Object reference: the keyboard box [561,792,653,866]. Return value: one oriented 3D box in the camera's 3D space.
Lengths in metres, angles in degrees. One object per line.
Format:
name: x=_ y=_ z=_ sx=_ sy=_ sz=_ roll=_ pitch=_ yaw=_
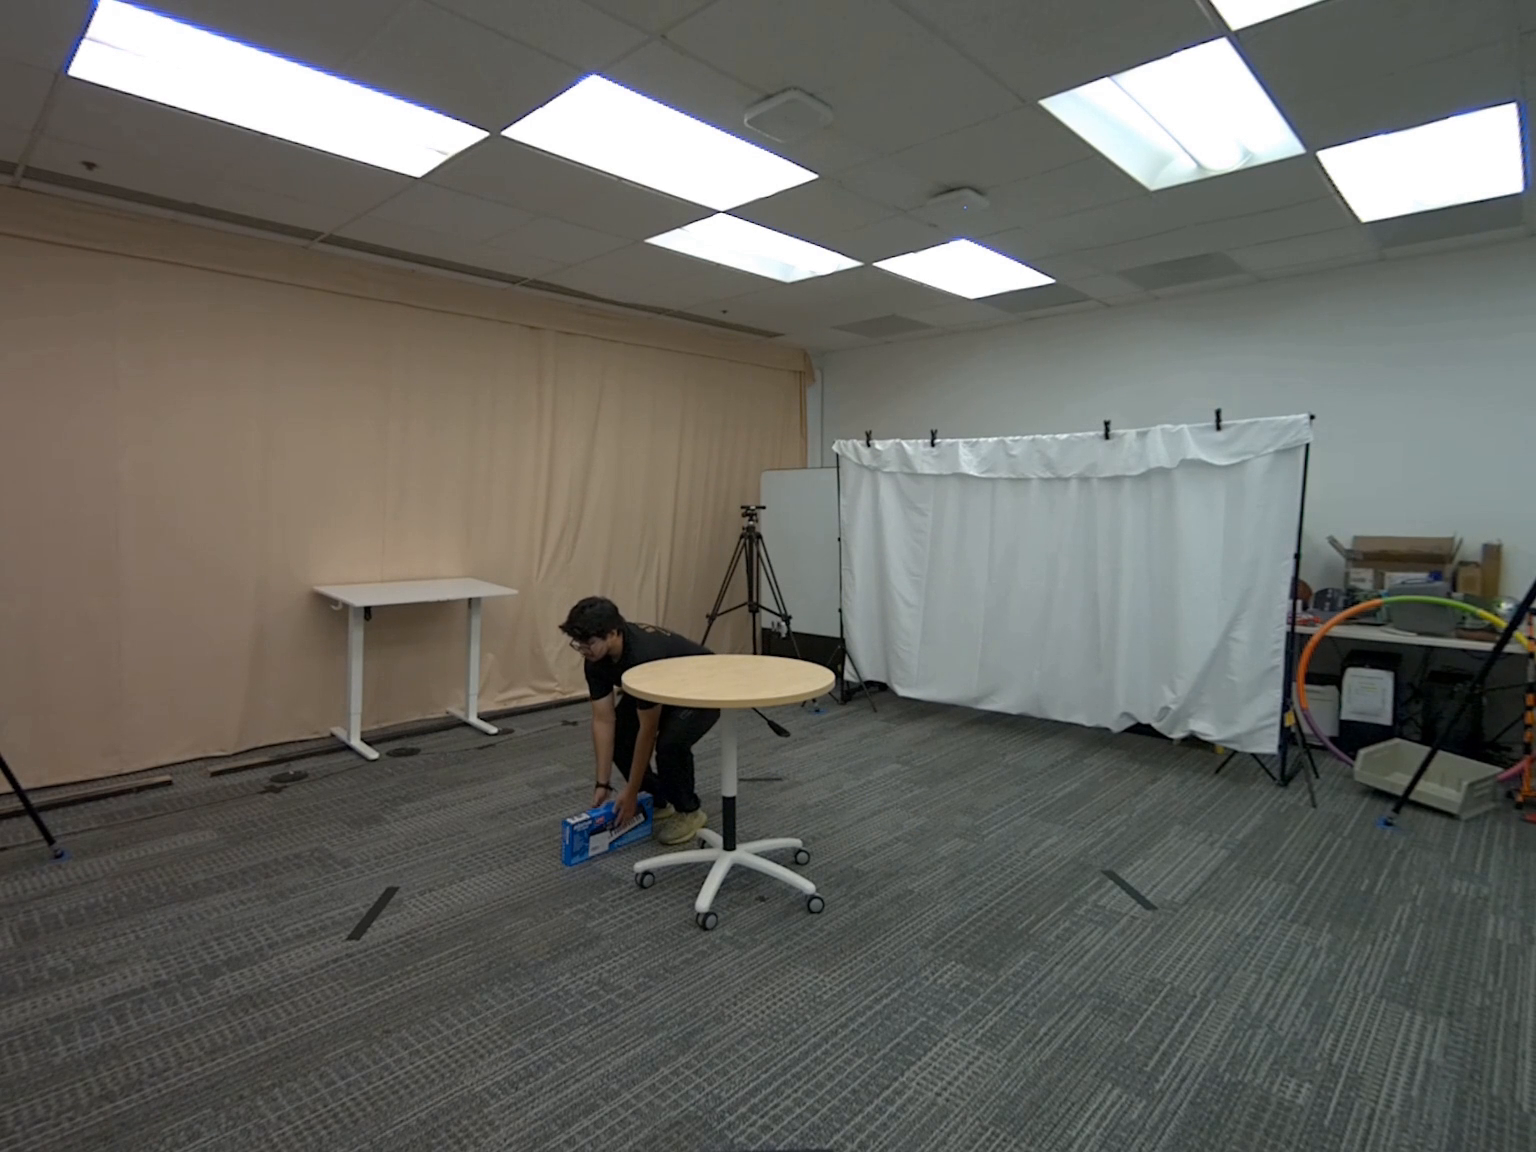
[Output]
keyboard box: x=-0.651 y=1.022 z=3.436 sx=0.061 sy=0.175 sz=0.424 roll=10 pitch=10 yaw=40
